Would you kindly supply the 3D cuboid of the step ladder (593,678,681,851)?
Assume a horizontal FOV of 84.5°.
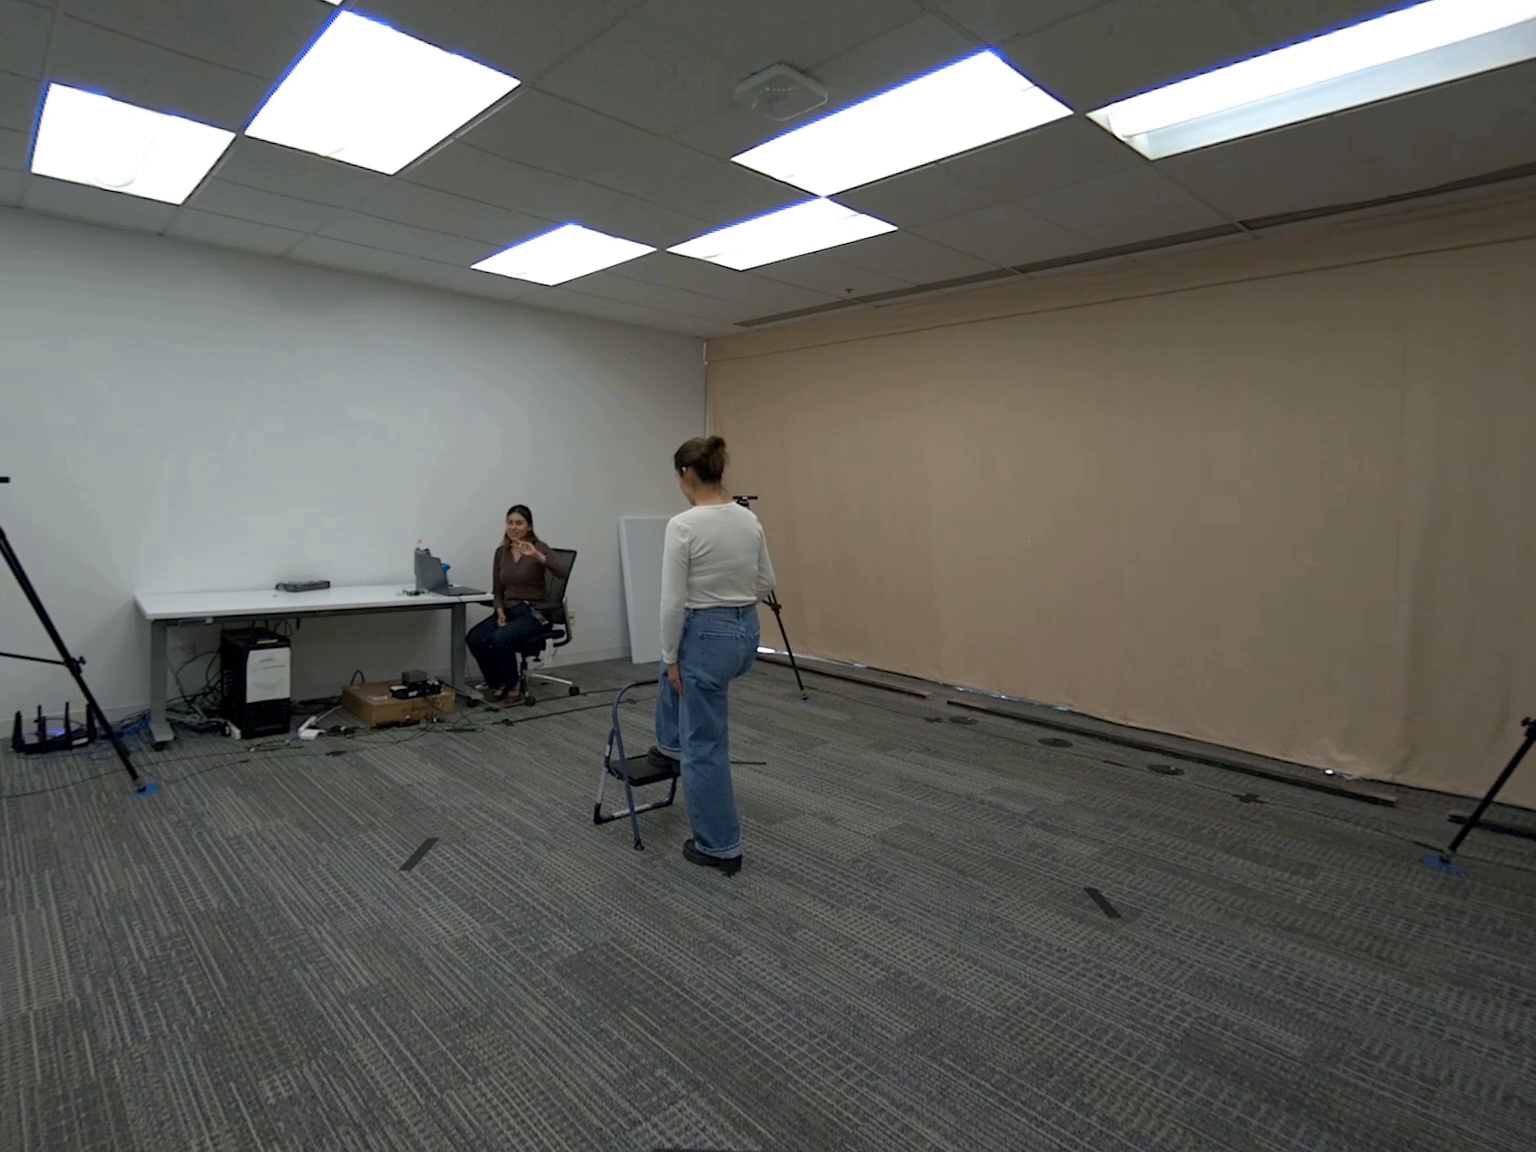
[{"bbox_3d":[-0.475,0.753,3.555,0.421,0.605,0.358,-2,4,-44],"label":"step ladder"}]
